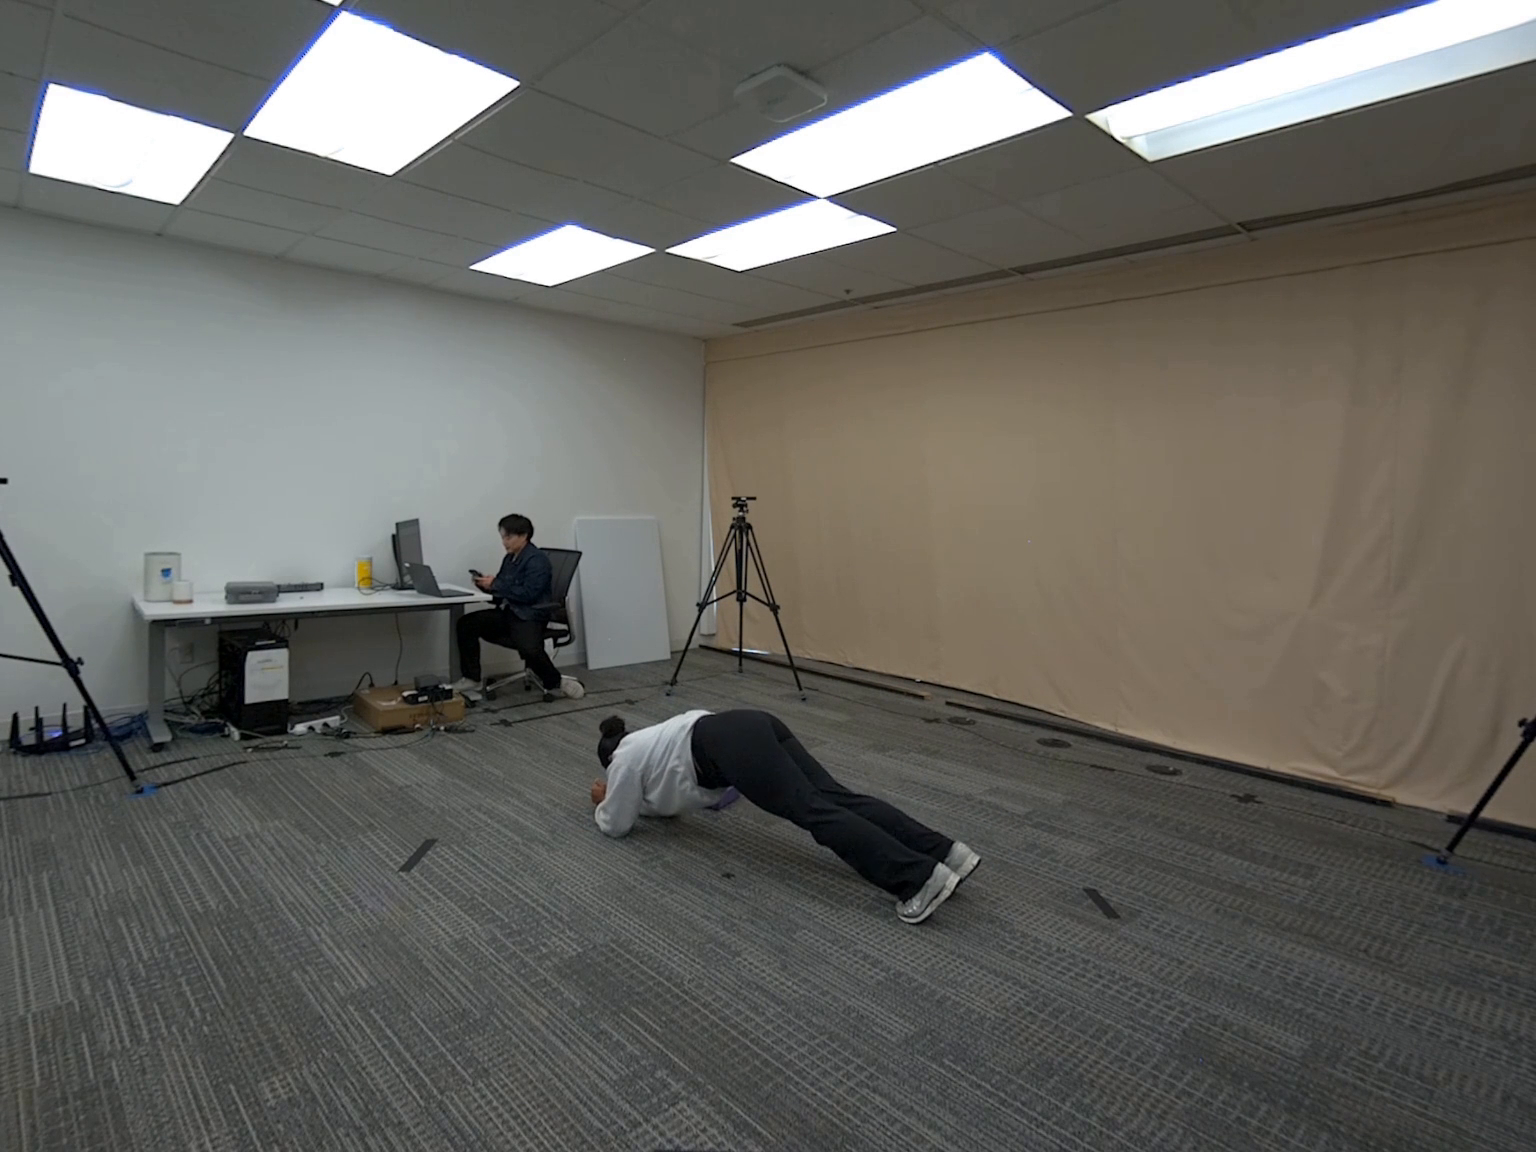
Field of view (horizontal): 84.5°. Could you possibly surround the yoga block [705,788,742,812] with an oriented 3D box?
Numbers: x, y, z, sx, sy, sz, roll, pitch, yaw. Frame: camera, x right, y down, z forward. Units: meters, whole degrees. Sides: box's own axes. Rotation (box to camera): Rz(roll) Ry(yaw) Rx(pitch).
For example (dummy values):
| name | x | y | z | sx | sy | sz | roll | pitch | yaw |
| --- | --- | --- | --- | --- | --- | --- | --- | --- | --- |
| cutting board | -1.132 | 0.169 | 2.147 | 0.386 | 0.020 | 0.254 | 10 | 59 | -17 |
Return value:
| name | x | y | z | sx | sy | sz | roll | pitch | yaw |
| --- | --- | --- | --- | --- | --- | --- | --- | --- | --- |
| yoga block | -0.250 | 1.001 | 3.885 | 0.152 | 0.076 | 0.225 | 3 | 5 | 26 |
